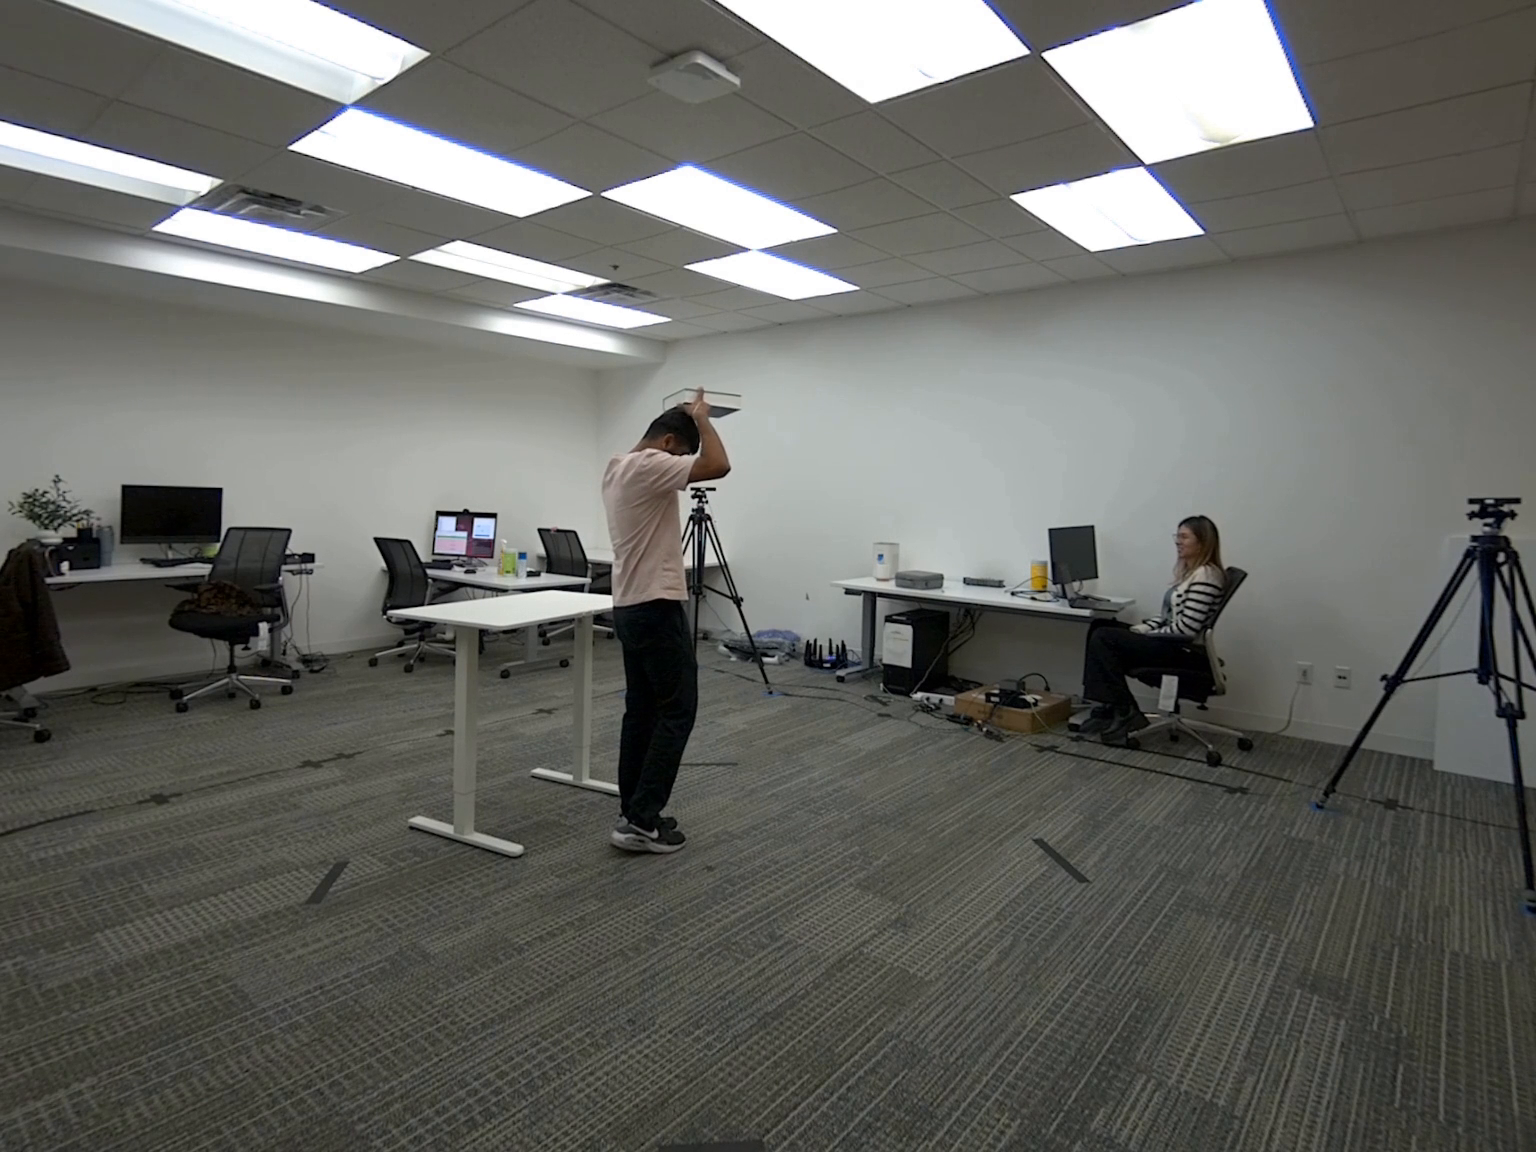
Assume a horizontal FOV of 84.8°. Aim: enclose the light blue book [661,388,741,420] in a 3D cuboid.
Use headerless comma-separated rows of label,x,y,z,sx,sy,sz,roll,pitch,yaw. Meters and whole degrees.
light blue book,-0.275,-0.697,3.407,0.254,0.059,0.195,0,-3,-27
